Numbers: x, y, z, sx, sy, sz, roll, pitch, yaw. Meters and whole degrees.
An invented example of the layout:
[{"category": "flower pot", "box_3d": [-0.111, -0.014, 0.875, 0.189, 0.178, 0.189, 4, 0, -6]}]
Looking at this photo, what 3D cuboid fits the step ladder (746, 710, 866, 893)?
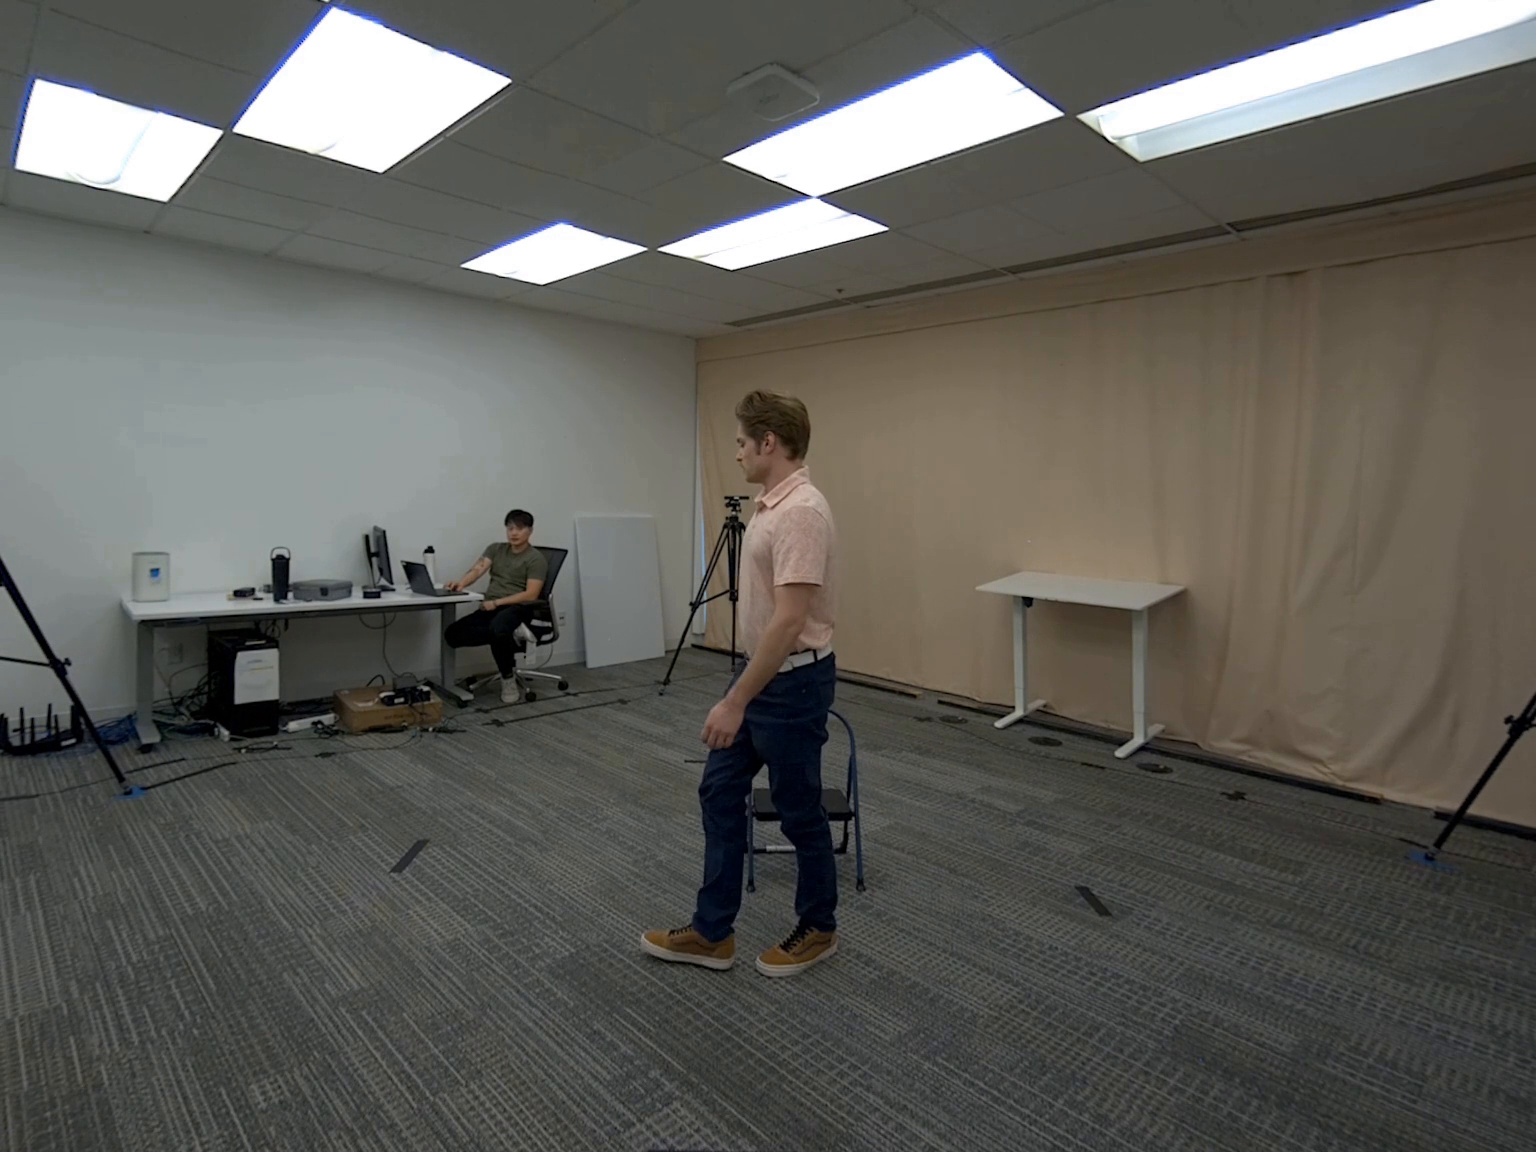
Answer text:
[{"category": "step ladder", "box_3d": [0.123, 0.804, 3.150, 0.429, 0.605, 0.351, 1, 2, -5]}]
